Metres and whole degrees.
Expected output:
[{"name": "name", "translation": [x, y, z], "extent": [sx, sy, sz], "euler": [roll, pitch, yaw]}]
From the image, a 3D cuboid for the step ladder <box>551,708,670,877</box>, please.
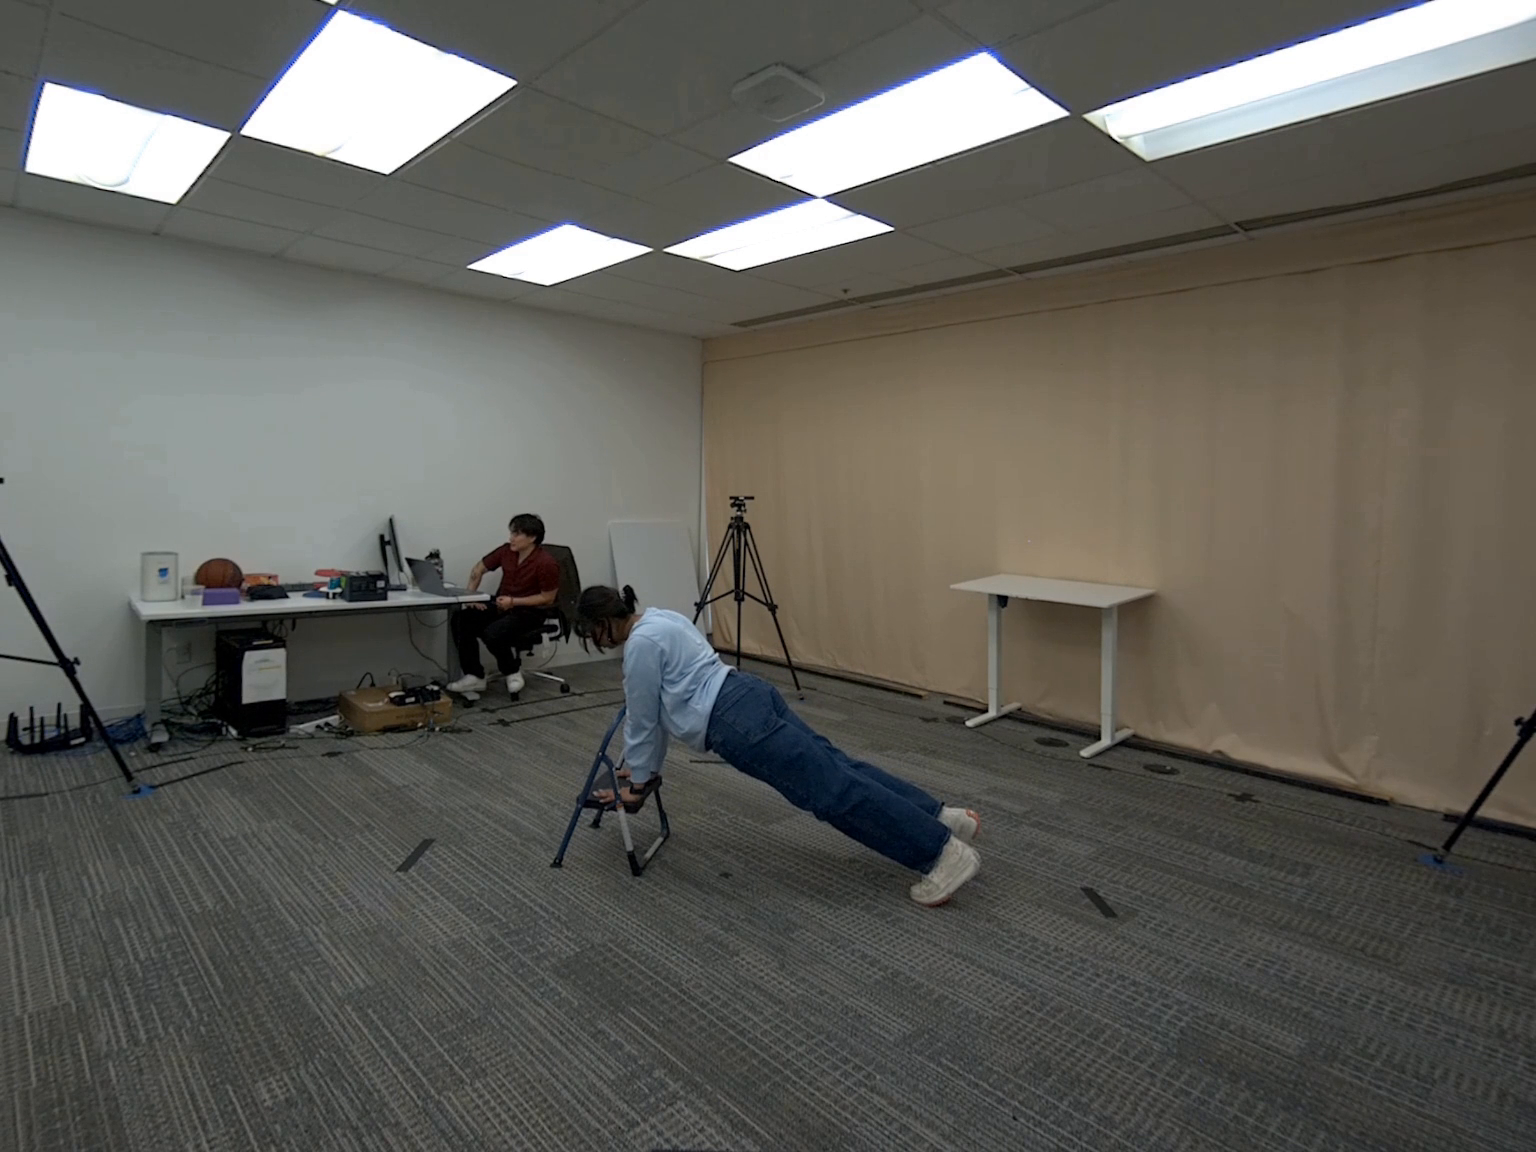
[{"name": "step ladder", "translation": [-0.603, 0.774, 3.289], "extent": [0.352, 0.604, 0.428], "euler": [2, 4, 10]}]
